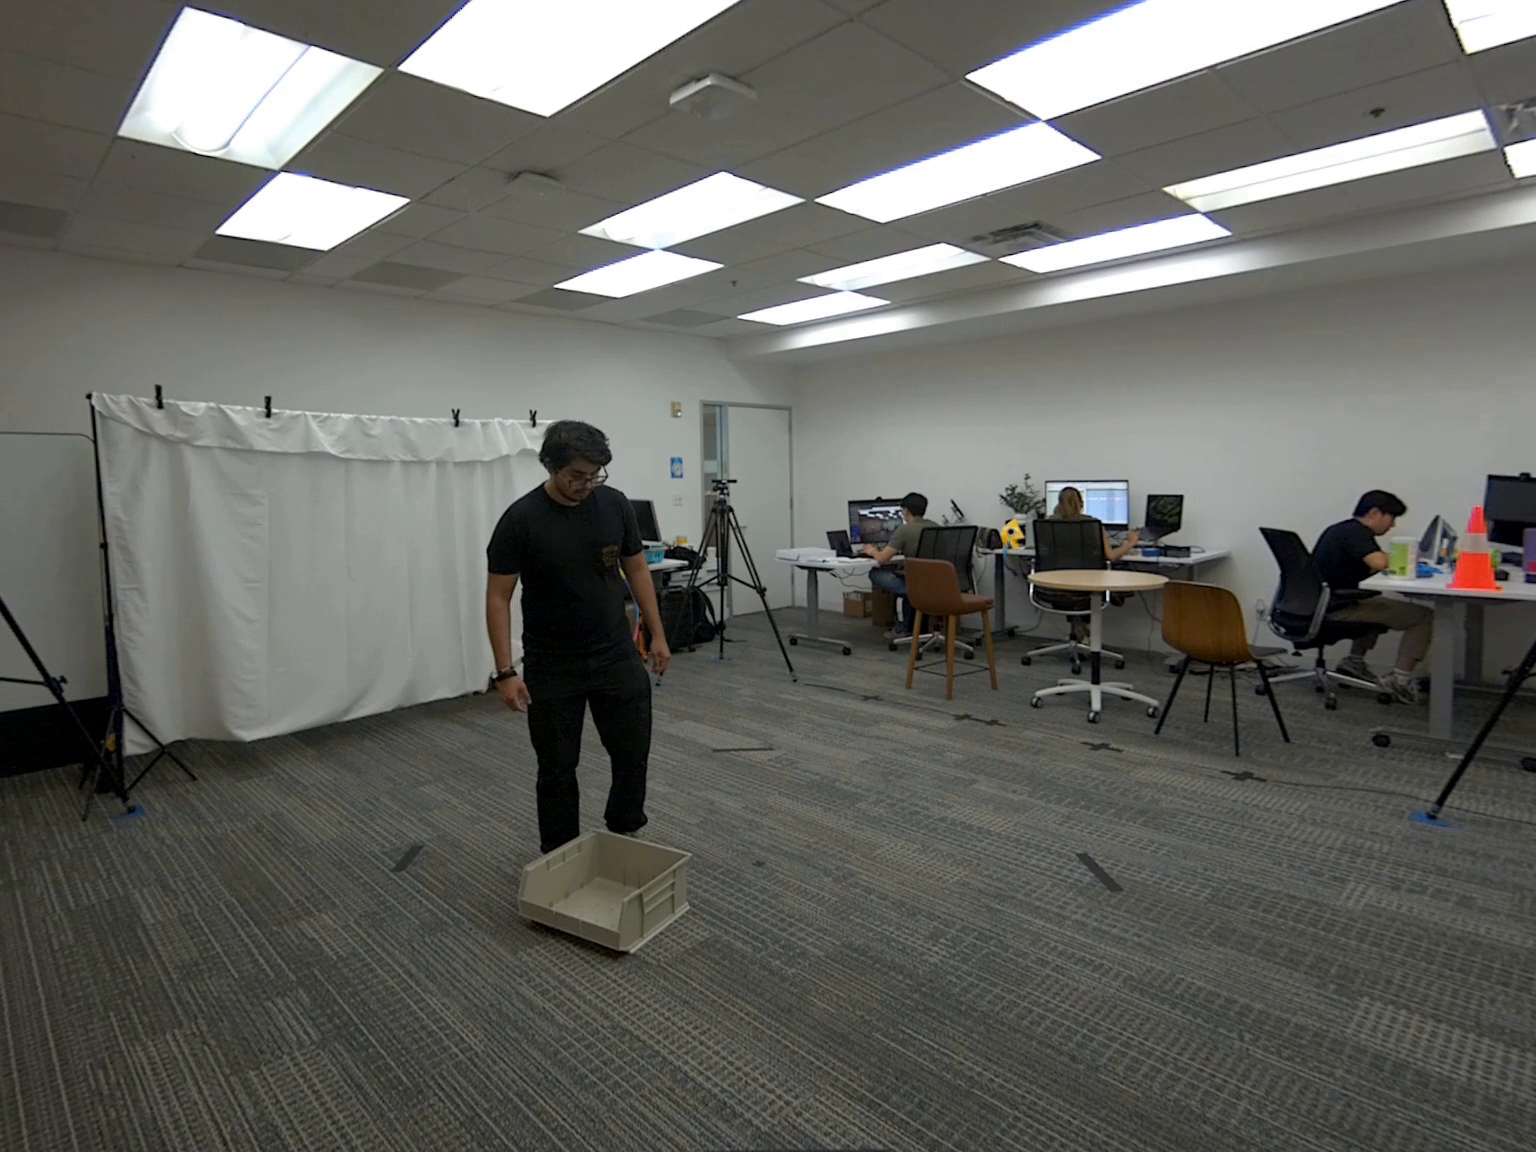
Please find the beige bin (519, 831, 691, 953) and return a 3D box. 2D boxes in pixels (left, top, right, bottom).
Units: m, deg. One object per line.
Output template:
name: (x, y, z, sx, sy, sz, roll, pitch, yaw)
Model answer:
beige bin: (-0.518, 1.008, 2.746, 0.434, 0.188, 0.369, 2, 6, 31)
